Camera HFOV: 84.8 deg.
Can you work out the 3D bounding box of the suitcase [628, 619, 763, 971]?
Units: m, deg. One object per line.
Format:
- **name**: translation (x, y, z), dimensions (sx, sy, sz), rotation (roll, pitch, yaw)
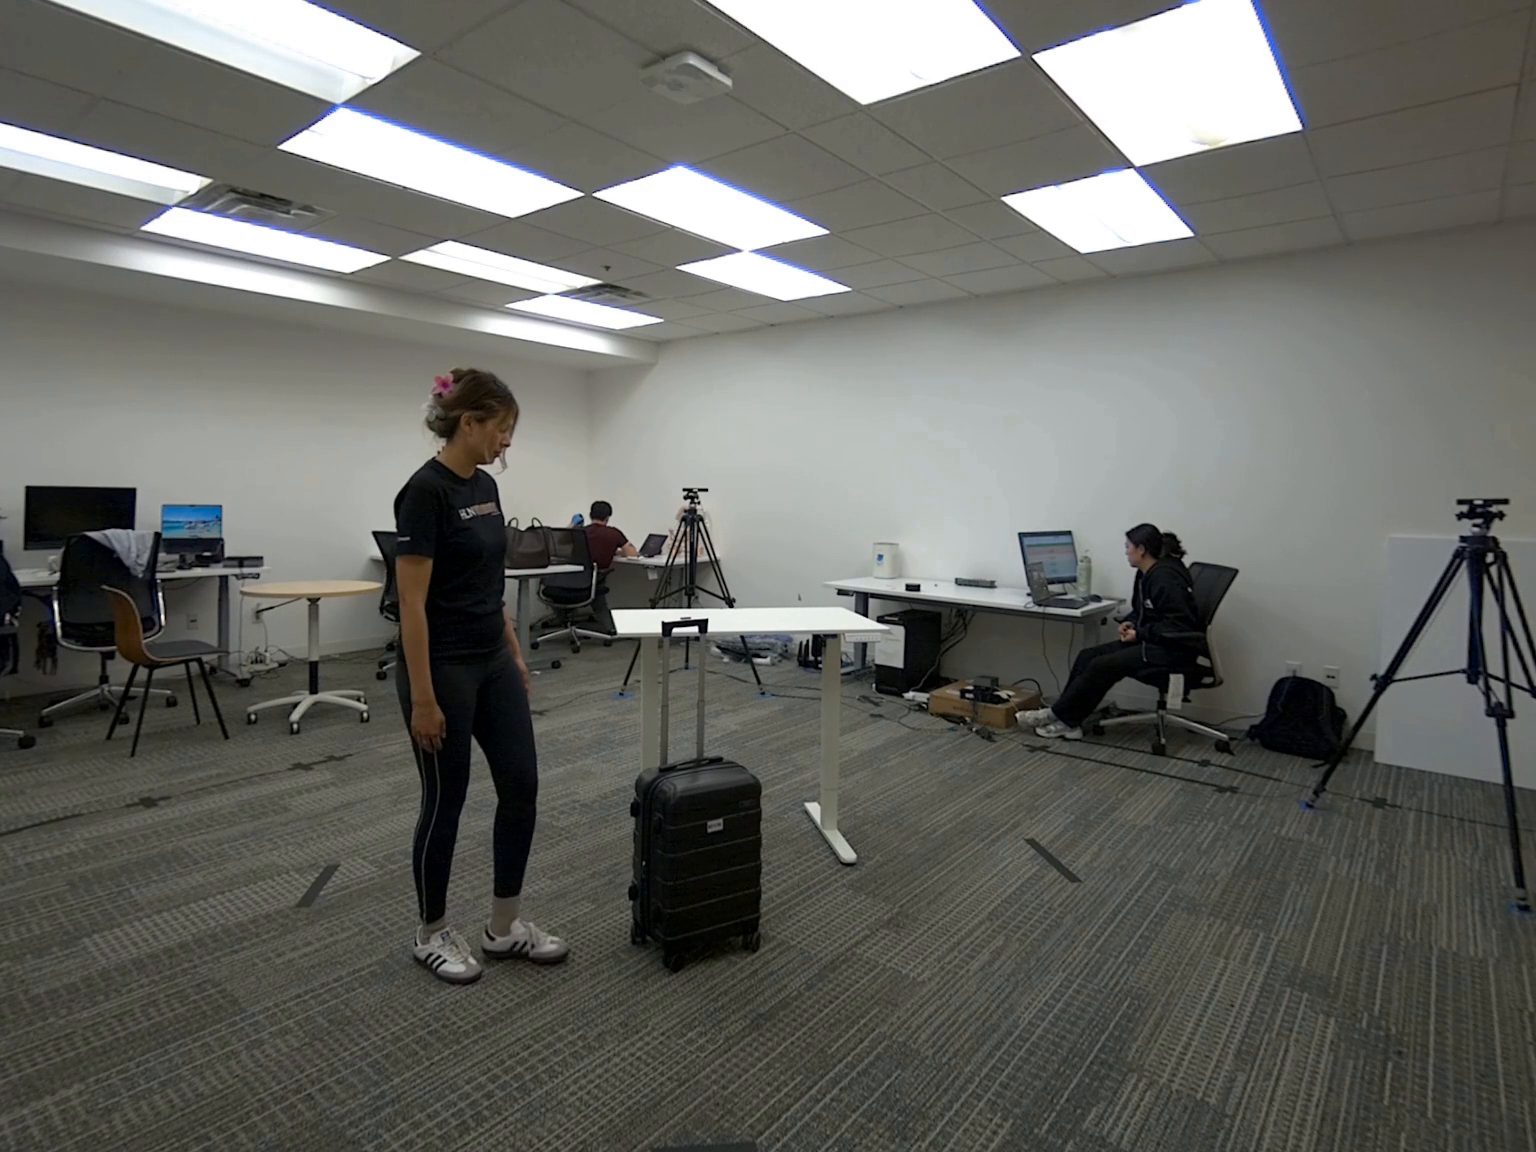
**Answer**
- **suitcase**: translation (-0.213, 0.642, 2.578), dimensions (0.374, 0.975, 0.265), rotation (0, 4, -29)
